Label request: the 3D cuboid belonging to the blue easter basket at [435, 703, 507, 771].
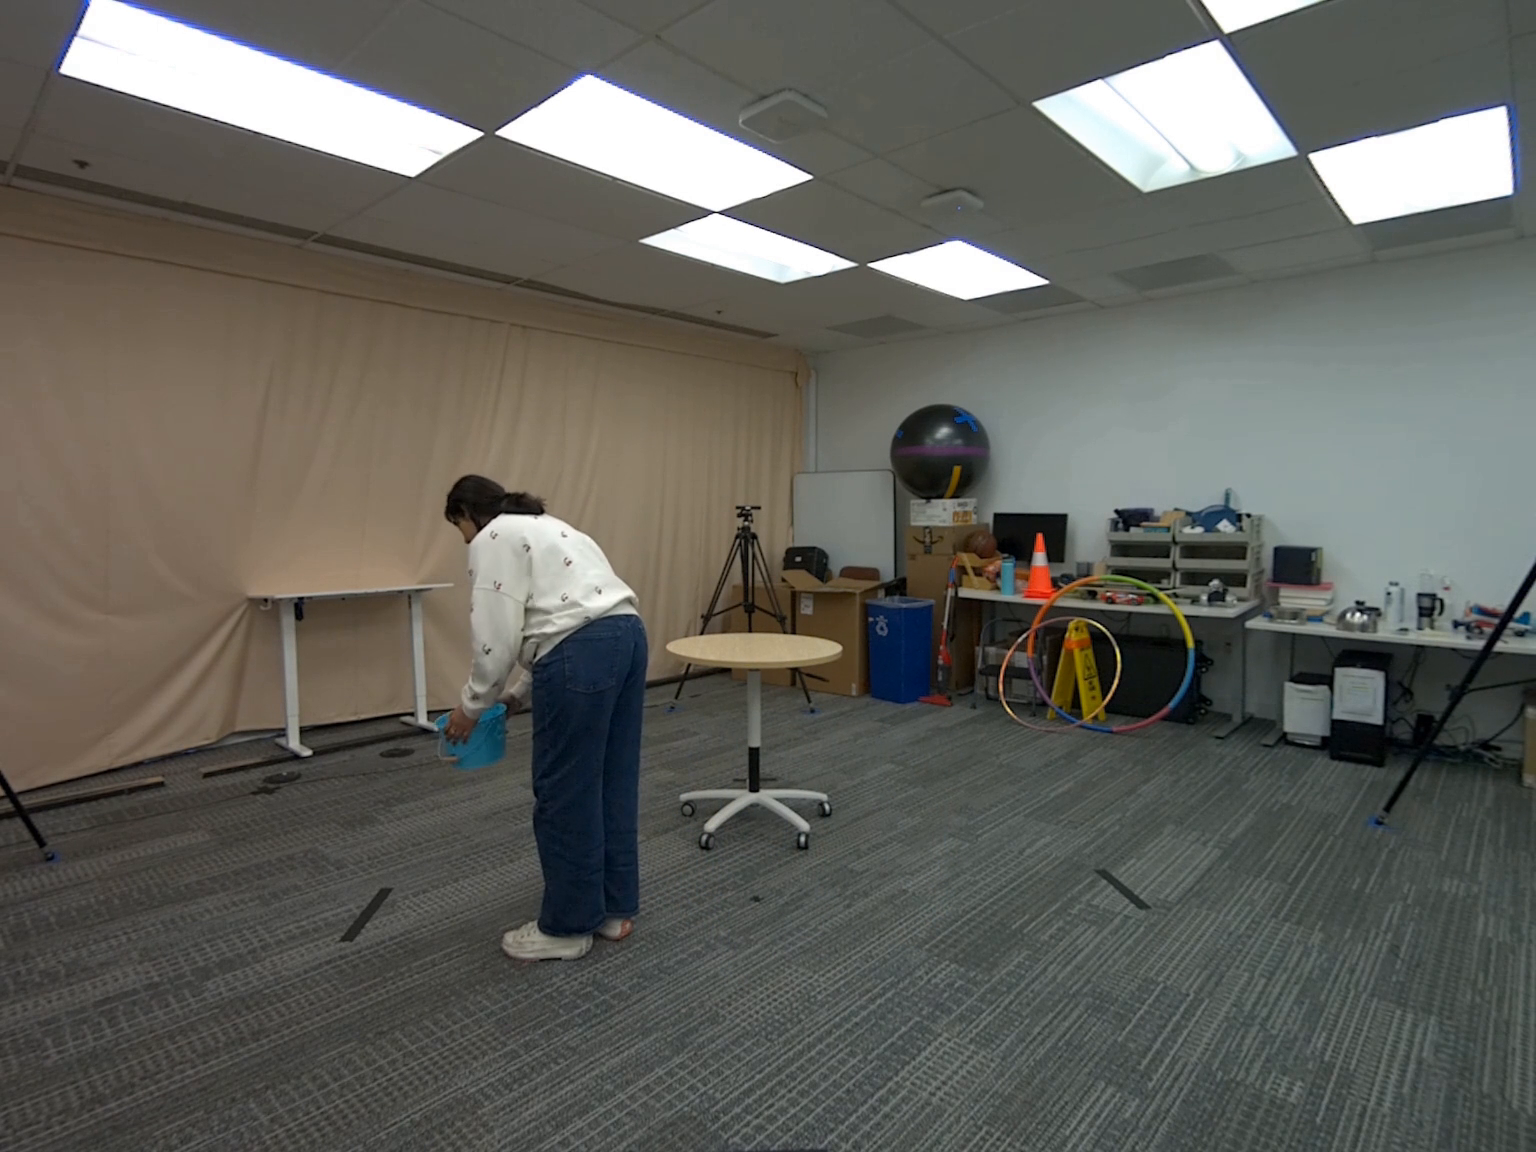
[{"bbox_3d":[-0.979,0.537,2.783,0.243,0.155,0.245,-7,8,-1],"label":"blue easter basket"}]
